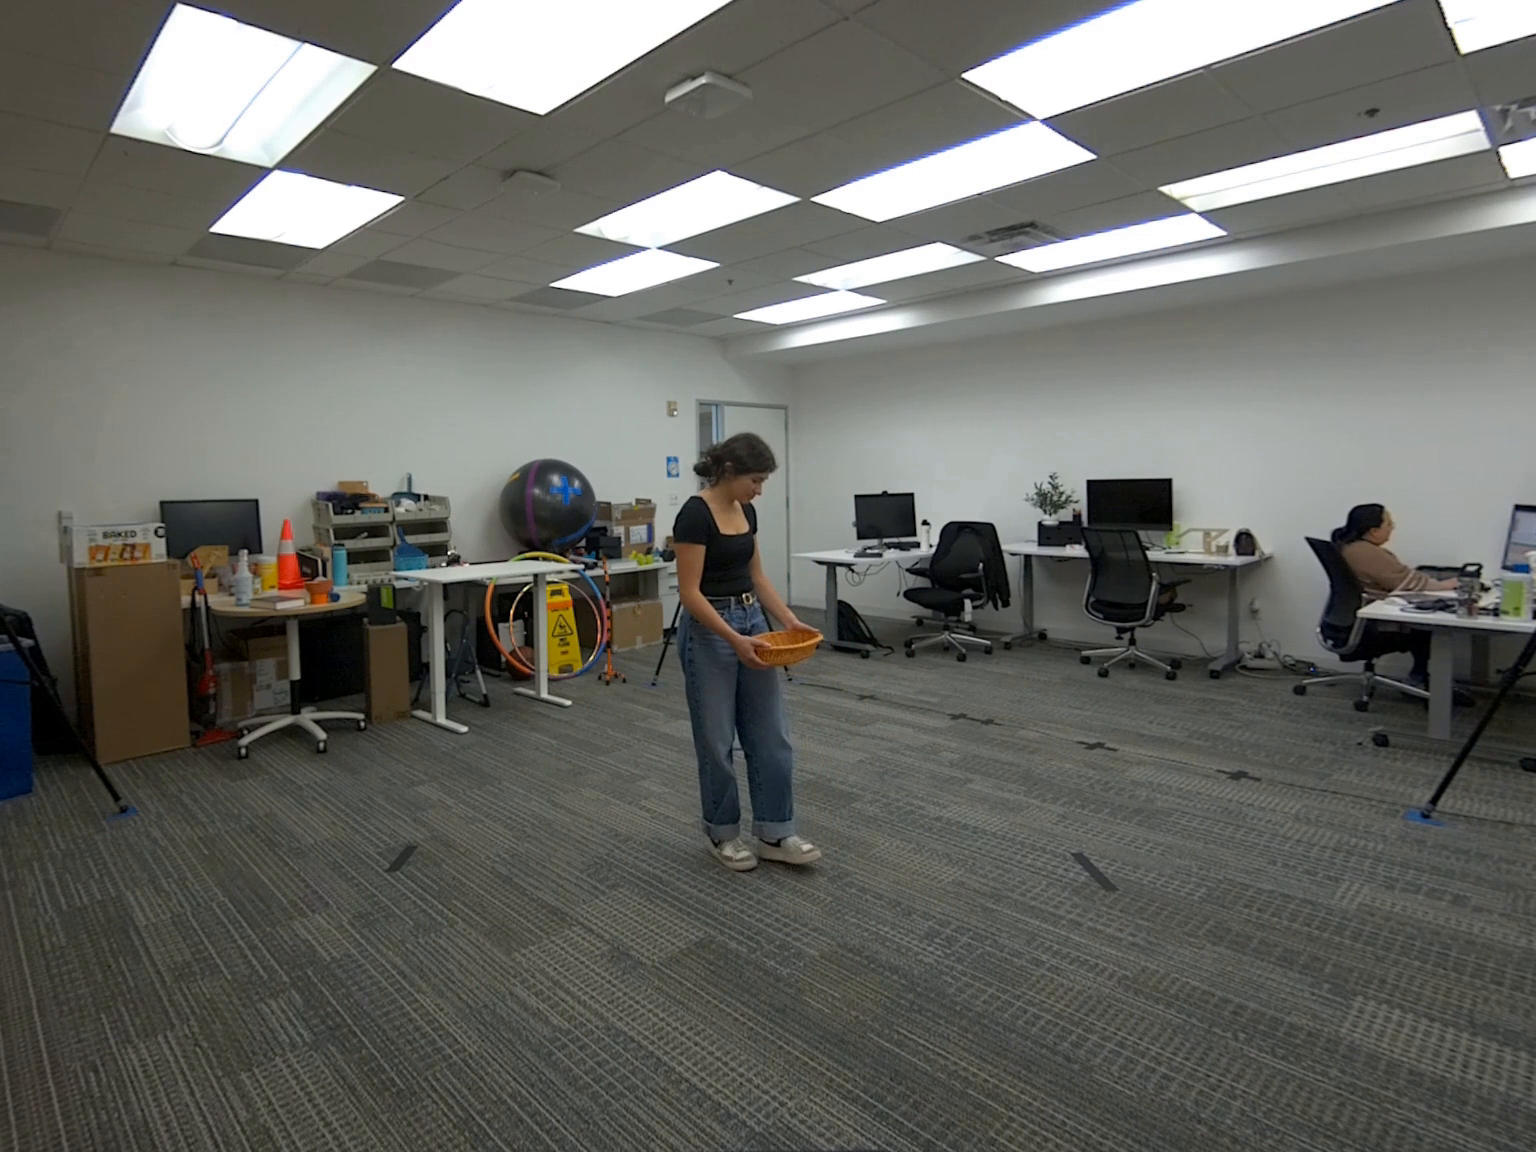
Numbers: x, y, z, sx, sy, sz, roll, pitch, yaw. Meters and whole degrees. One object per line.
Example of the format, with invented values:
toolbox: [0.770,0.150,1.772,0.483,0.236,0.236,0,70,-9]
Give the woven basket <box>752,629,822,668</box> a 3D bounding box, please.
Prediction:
woven basket: [0.025,0.258,2.957,0.260,0.073,0.342,2,8,41]
